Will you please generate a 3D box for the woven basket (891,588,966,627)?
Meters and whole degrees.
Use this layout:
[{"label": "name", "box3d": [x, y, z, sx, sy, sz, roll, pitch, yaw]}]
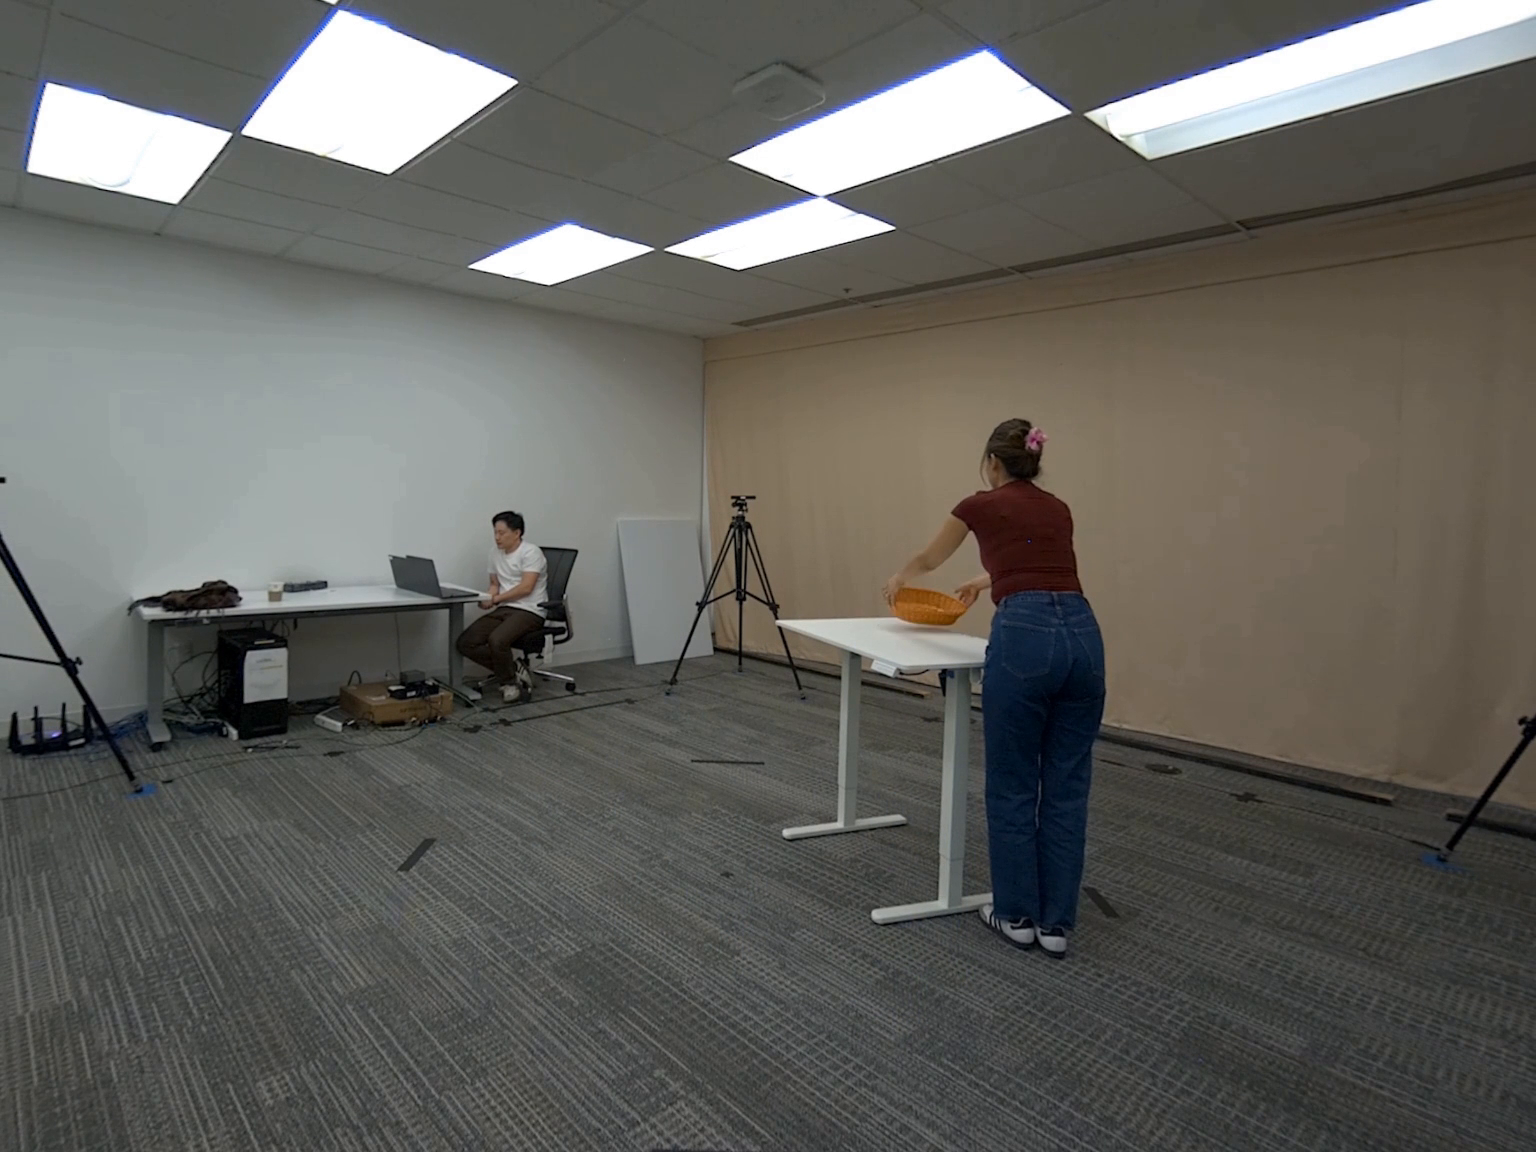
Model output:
[{"label": "woven basket", "box3d": [0.639, 0.121, 3.415, 0.347, 0.073, 0.257, 6, 18, -12]}]
